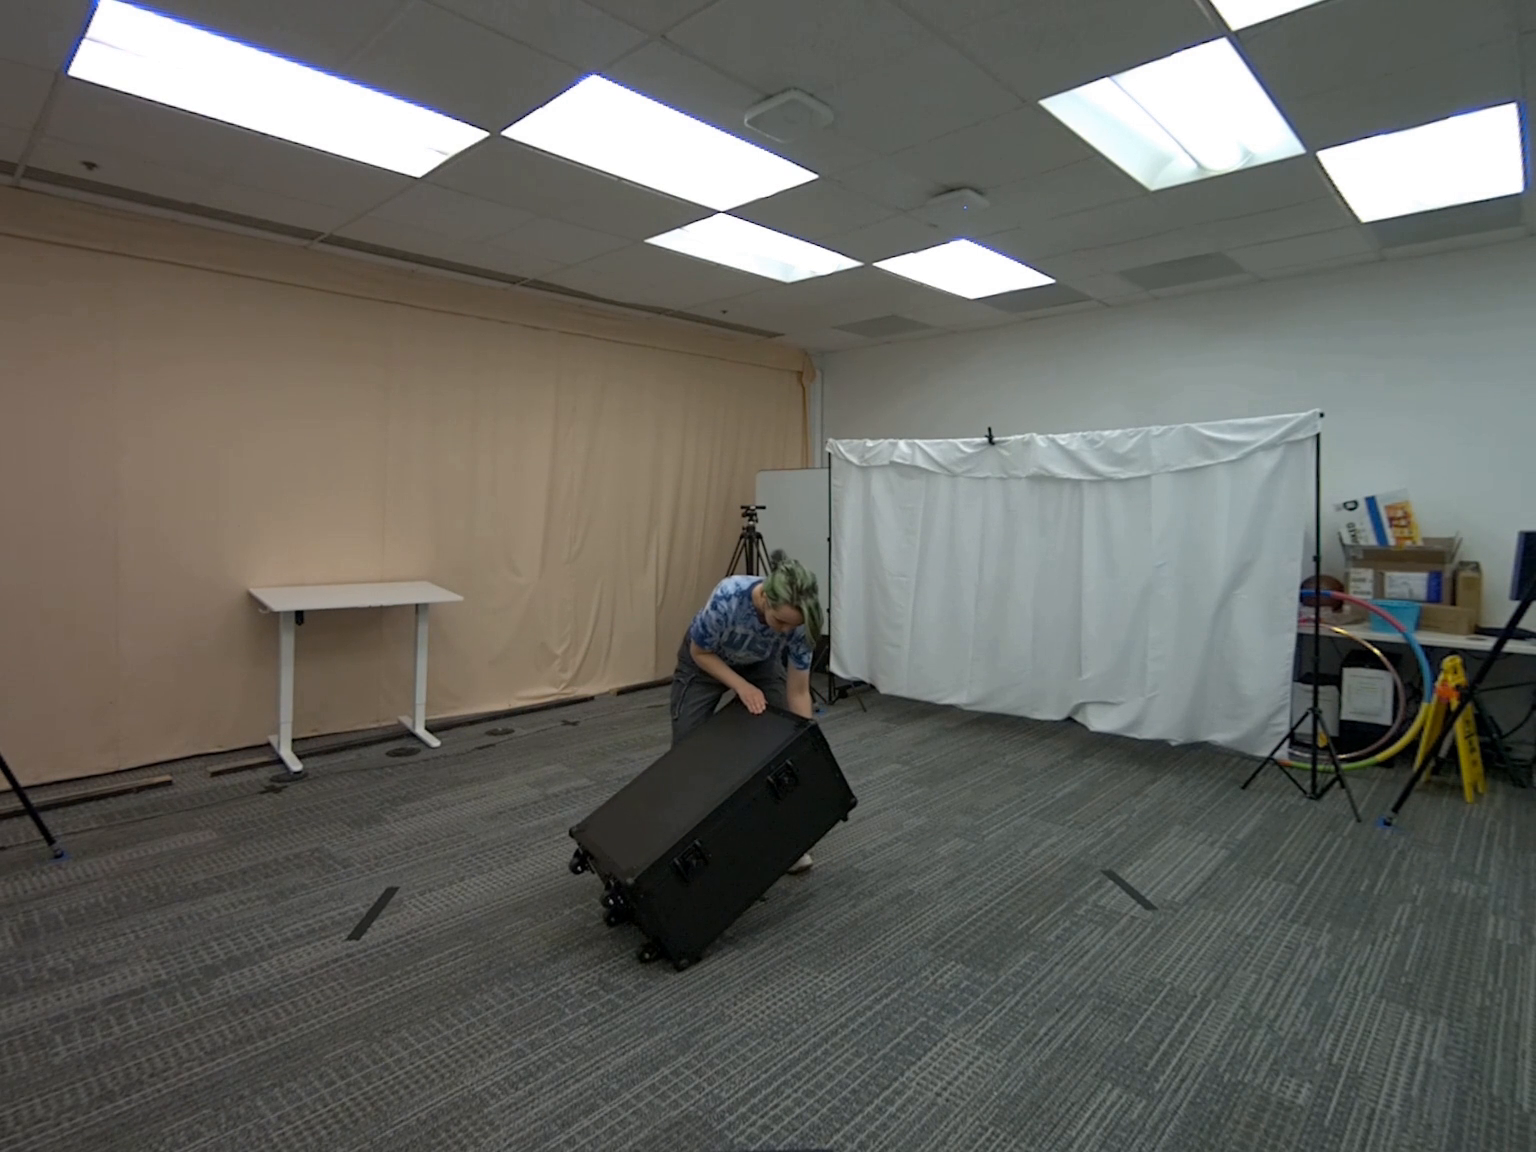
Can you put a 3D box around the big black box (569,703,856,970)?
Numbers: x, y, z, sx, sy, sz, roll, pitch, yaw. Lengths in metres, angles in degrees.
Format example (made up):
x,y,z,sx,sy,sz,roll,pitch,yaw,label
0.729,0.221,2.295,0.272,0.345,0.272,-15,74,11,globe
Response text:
x,y,z,sx,sy,sz,roll,pitch,yaw,label
-0.203,0.837,2.815,0.851,0.389,0.537,-35,20,-25,big black box
